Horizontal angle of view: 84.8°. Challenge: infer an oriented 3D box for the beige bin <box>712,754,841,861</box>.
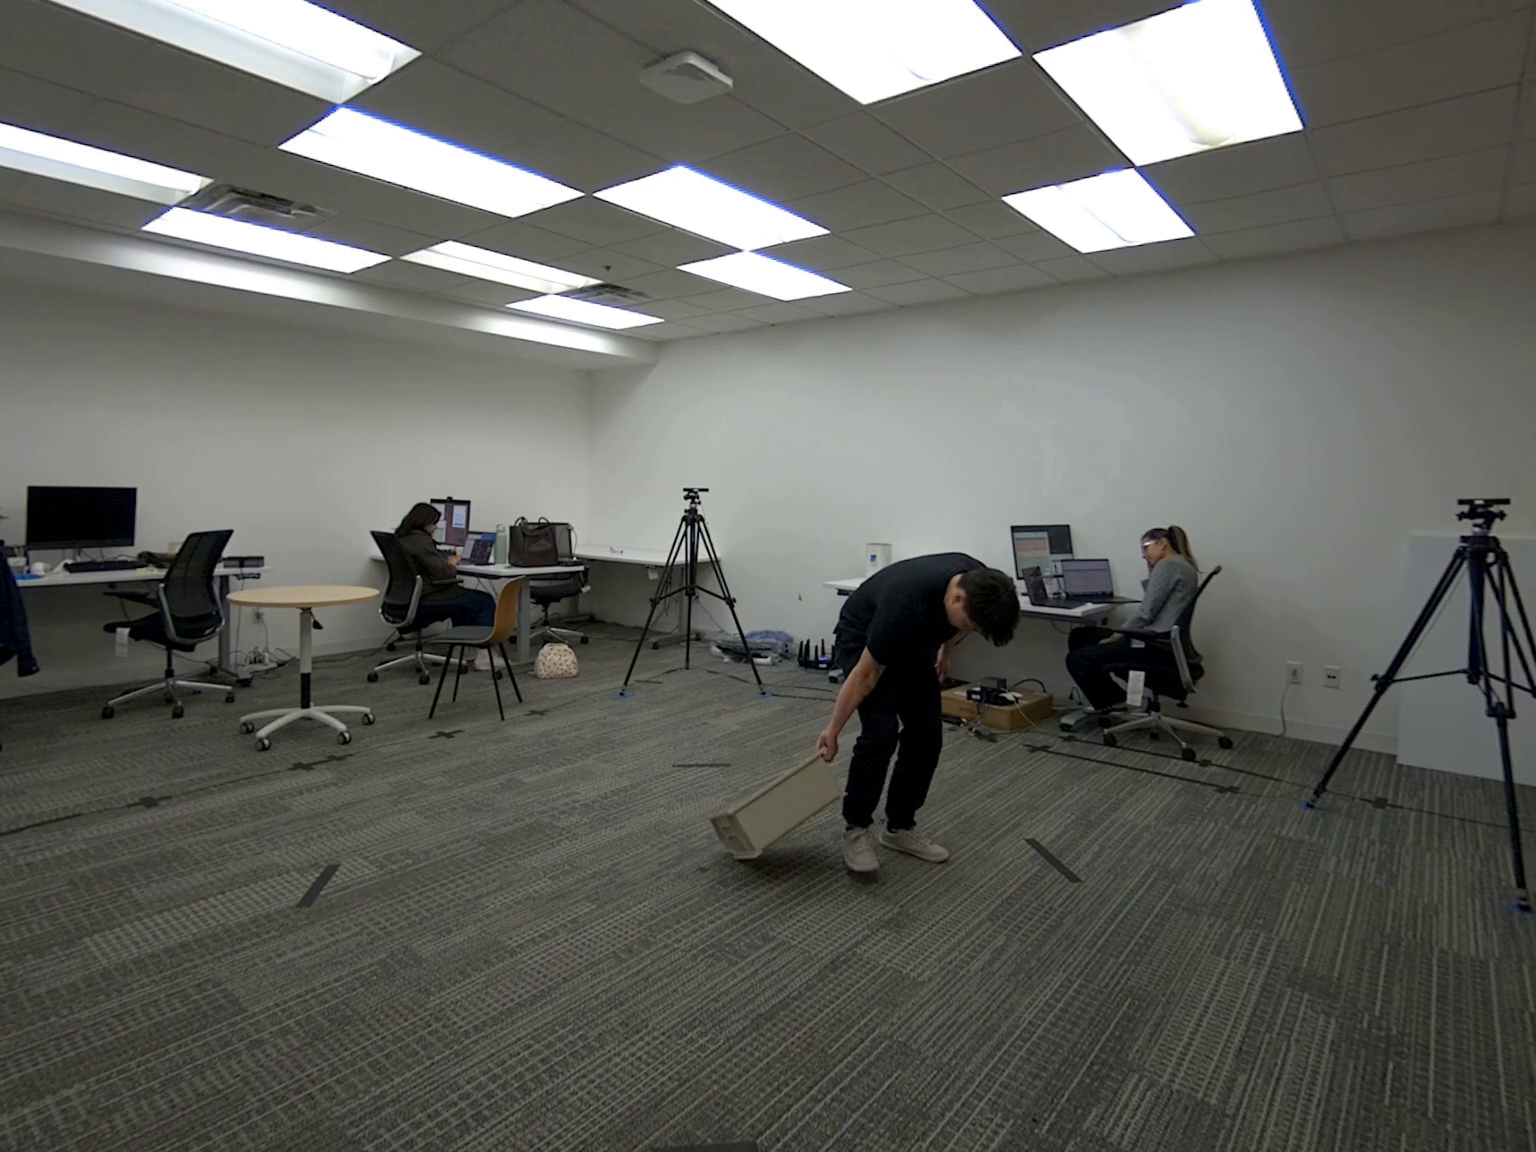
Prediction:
[{"bbox_3d":[0.014,0.857,3.173,0.418,0.191,0.376,-29,-8,-22],"label":"beige bin"}]
